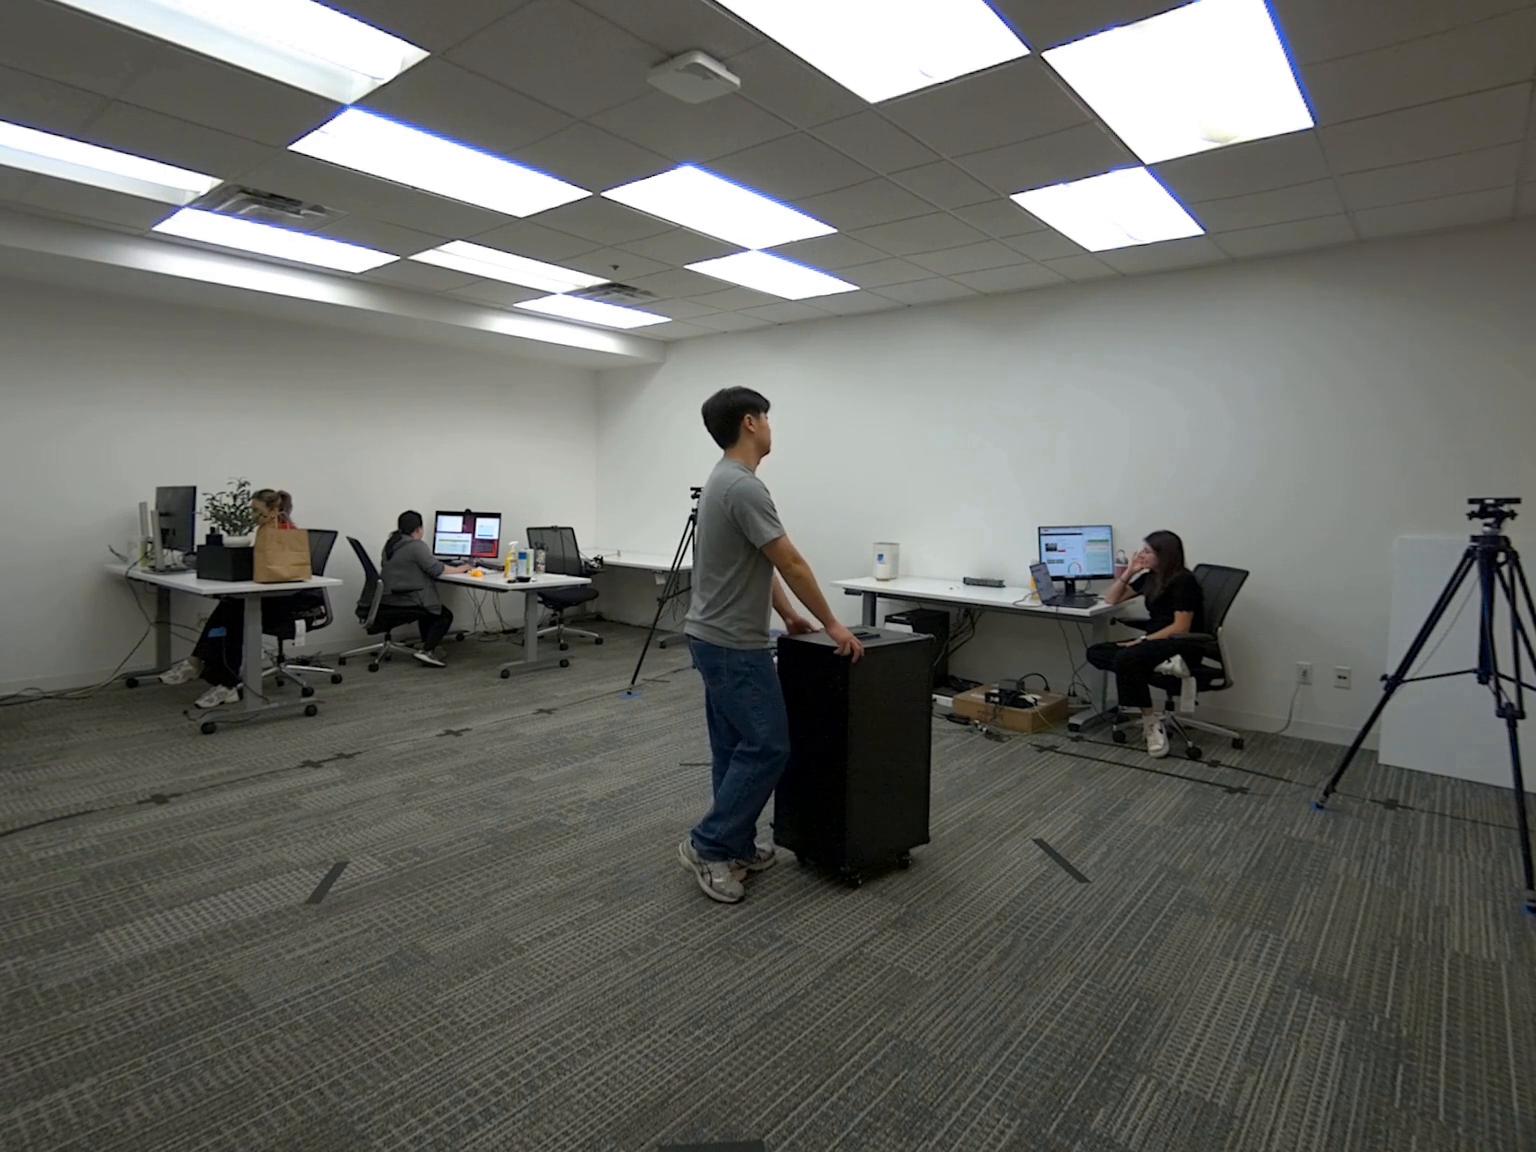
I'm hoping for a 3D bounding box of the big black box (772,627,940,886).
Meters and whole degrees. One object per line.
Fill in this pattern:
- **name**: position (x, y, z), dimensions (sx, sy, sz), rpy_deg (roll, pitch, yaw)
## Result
- **big black box**: position (0.308, 0.648, 3.186), dimensions (0.505, 0.859, 0.409), rpy_deg (-2, 3, -43)
